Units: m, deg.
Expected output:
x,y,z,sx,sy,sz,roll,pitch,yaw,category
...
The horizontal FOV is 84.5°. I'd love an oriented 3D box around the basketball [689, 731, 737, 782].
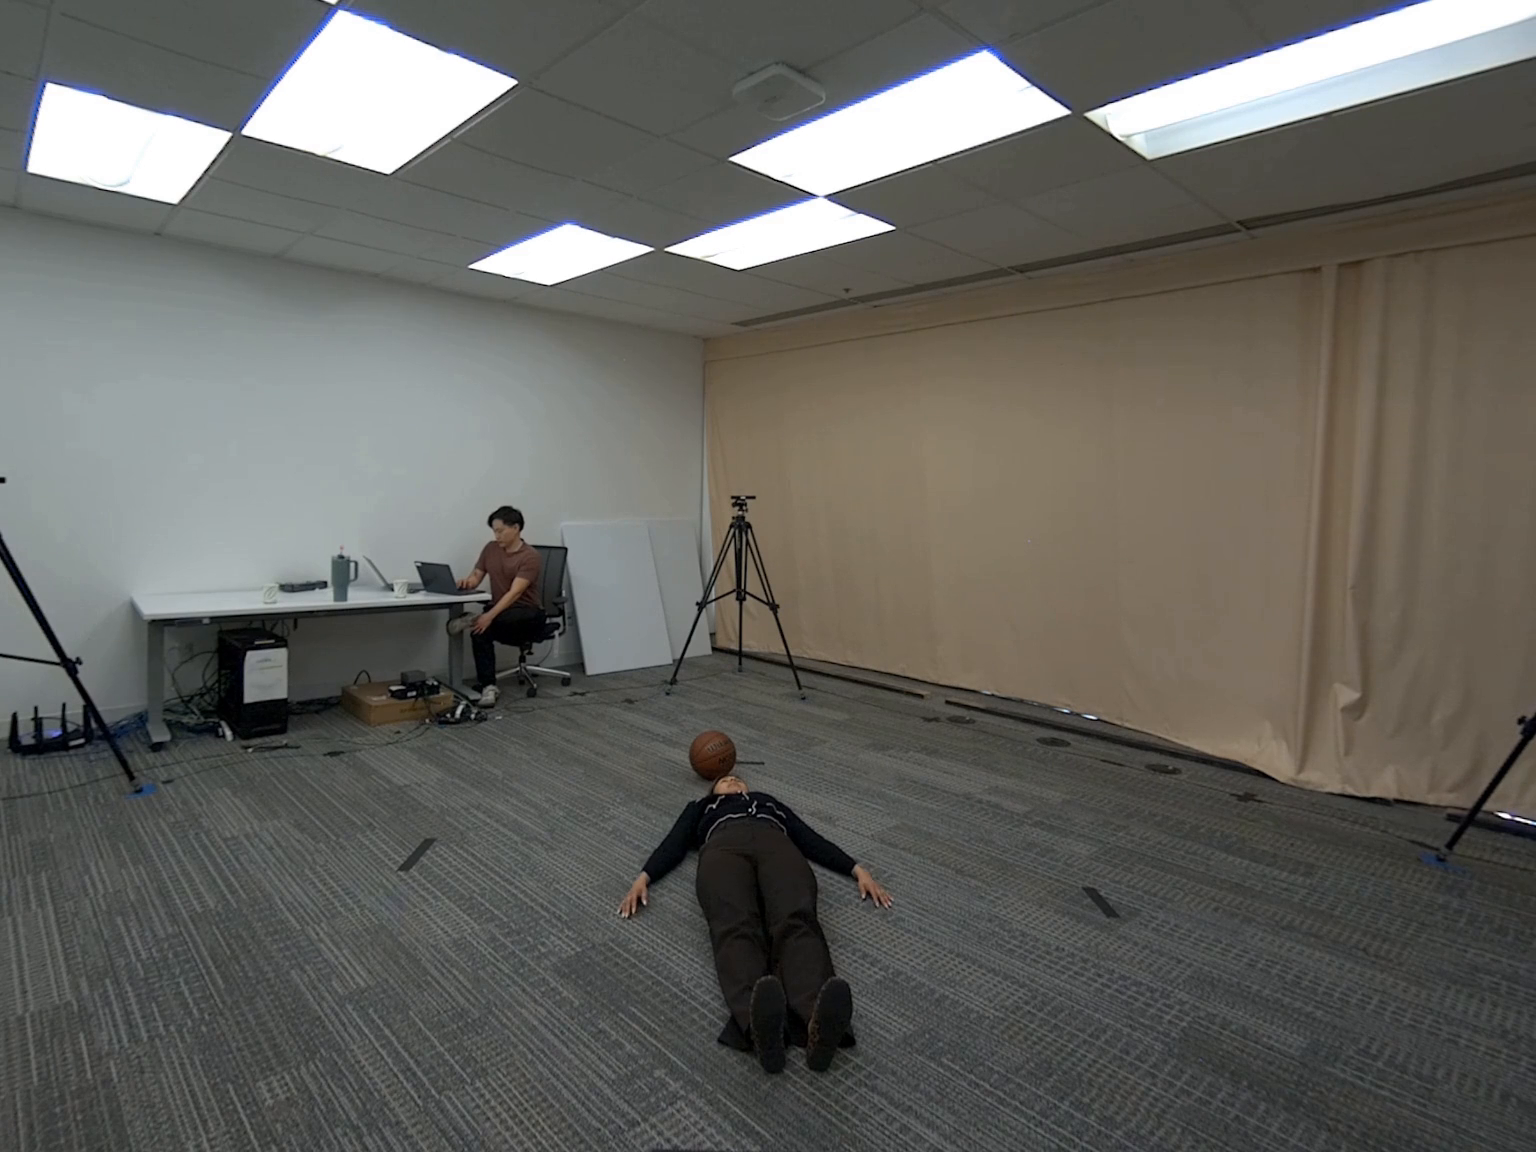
x,y,z,sx,sy,sz,roll,pitch,yaw,category
-0.290,0.886,4.179,0.236,0.235,0.237,1,4,-1,basketball
